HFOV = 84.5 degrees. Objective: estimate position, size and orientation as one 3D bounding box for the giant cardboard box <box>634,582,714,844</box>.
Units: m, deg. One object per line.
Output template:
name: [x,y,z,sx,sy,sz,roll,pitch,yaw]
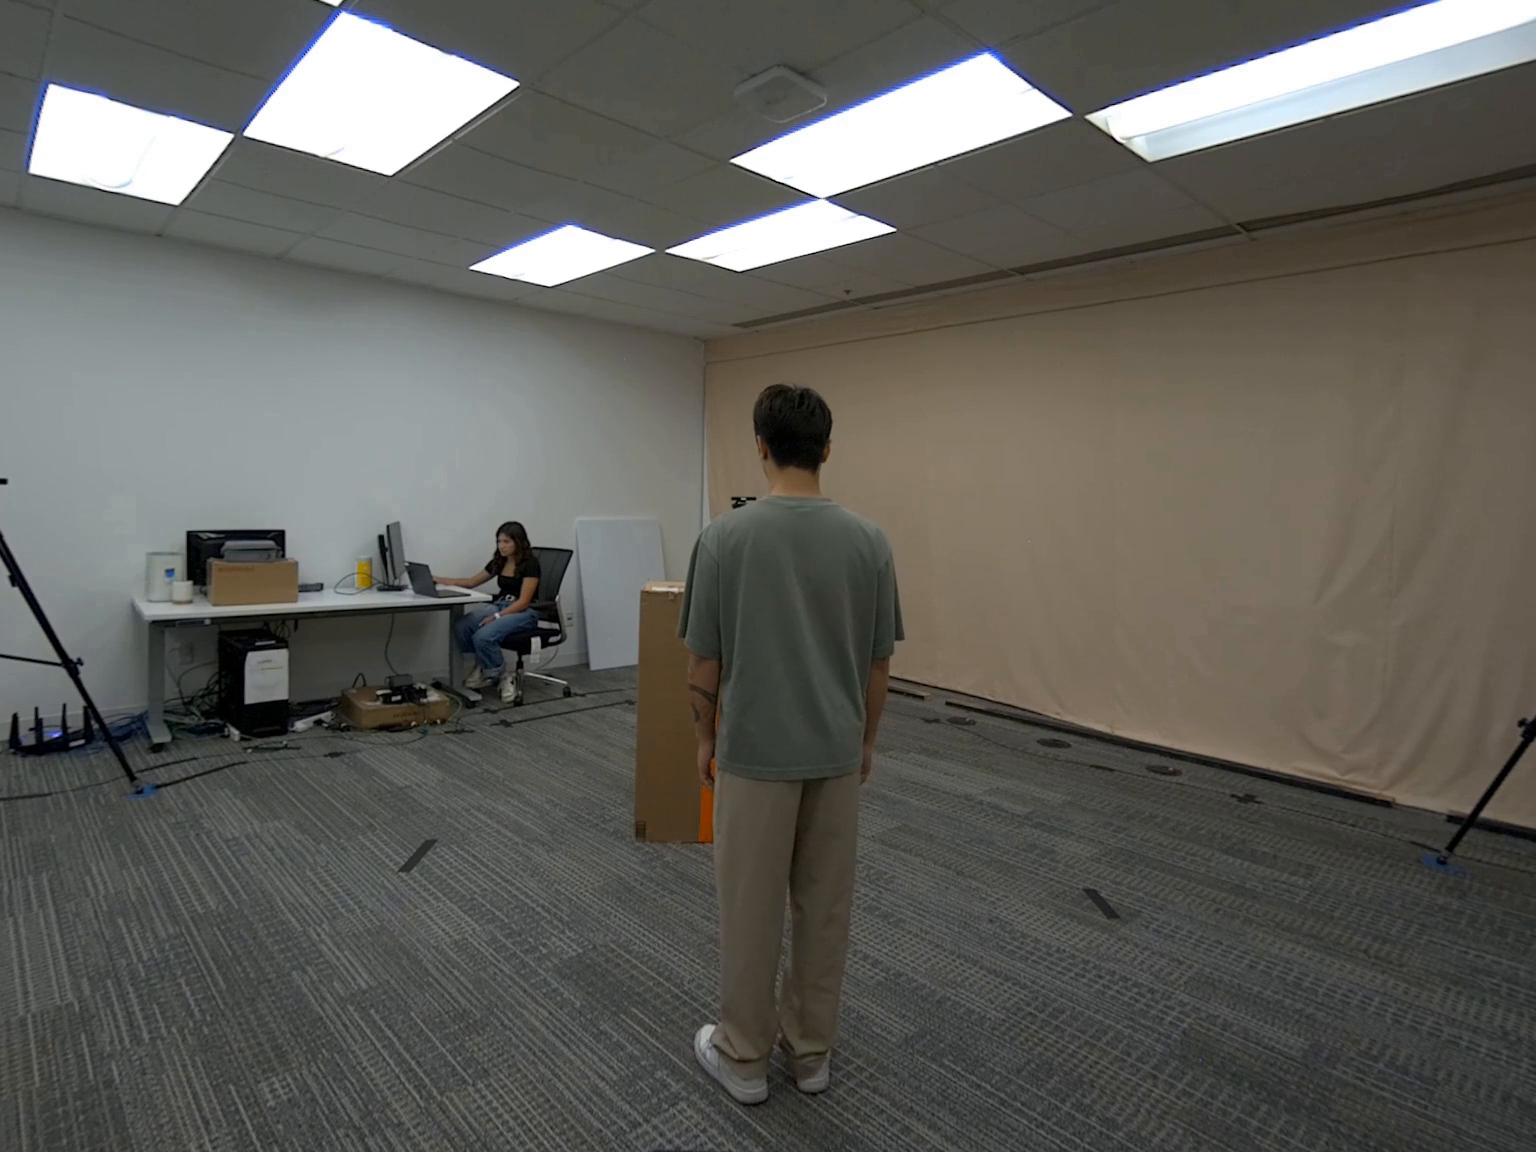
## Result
giant cardboard box: [-0.261,0.554,3.584,0.576,1.024,0.428,1,3,-3]
